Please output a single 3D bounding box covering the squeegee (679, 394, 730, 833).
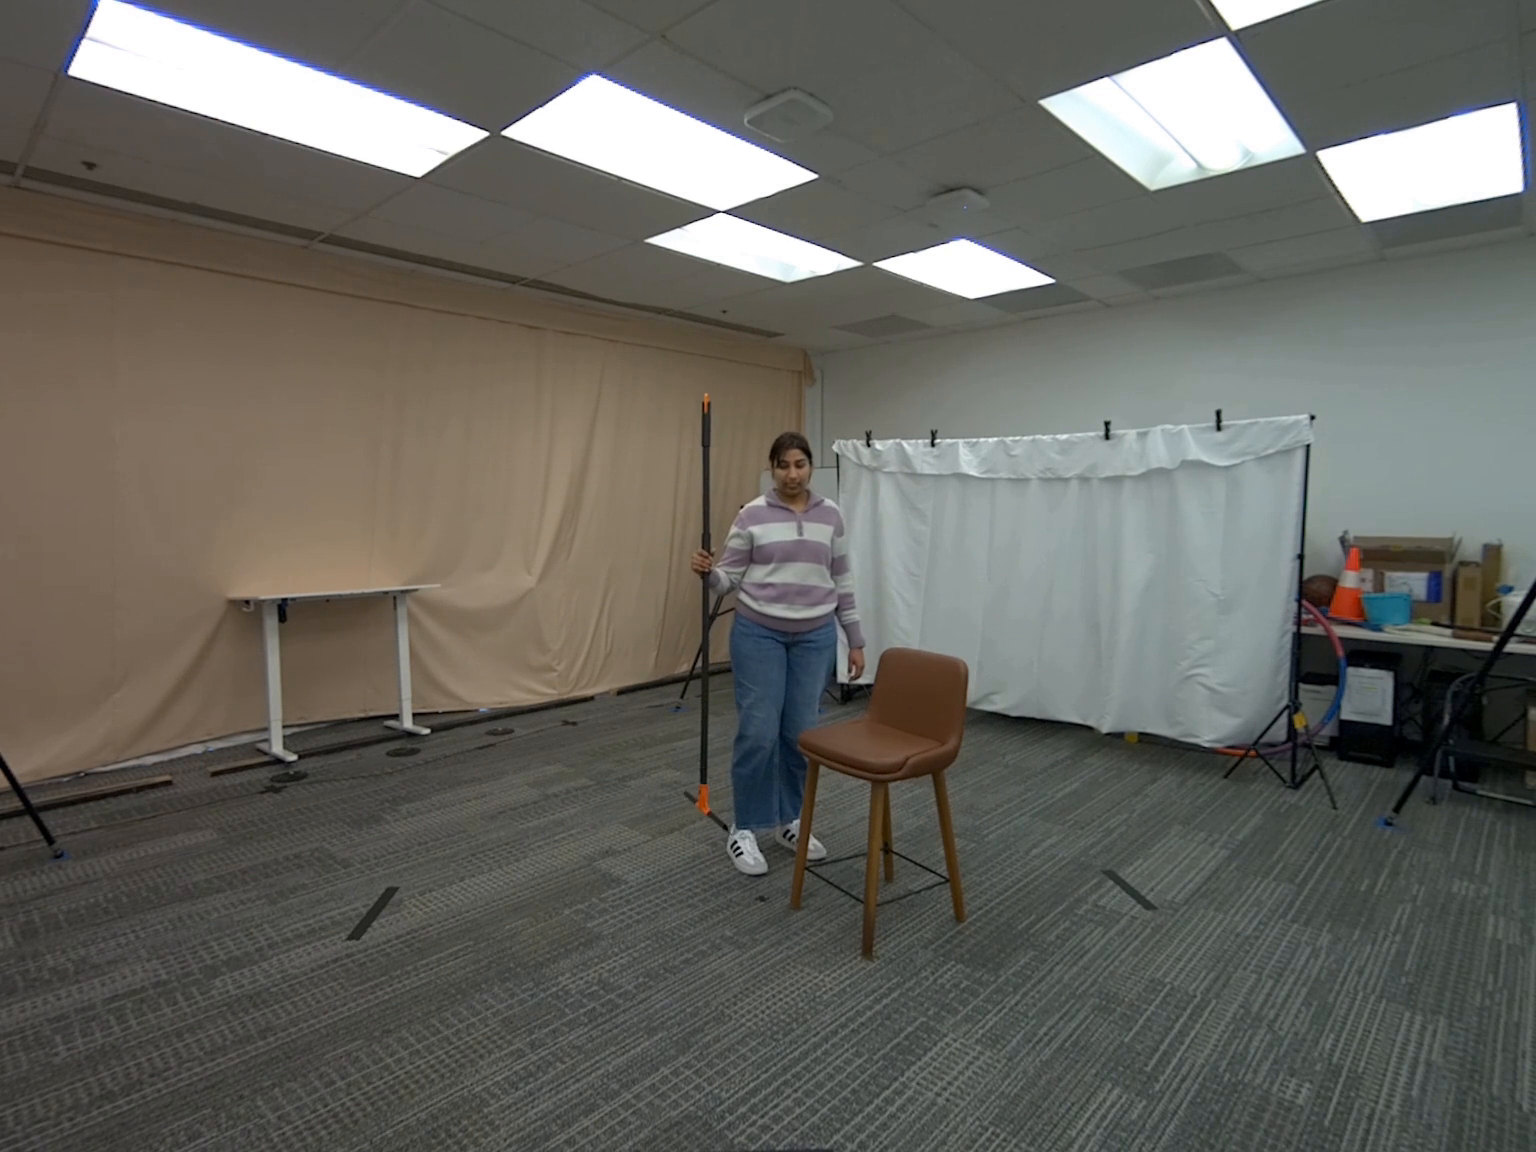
[{"bbox_3d":[-0.226,0.128,3.060,0.052,1.537,0.447,1,0,-22],"label":"squeegee"}]
